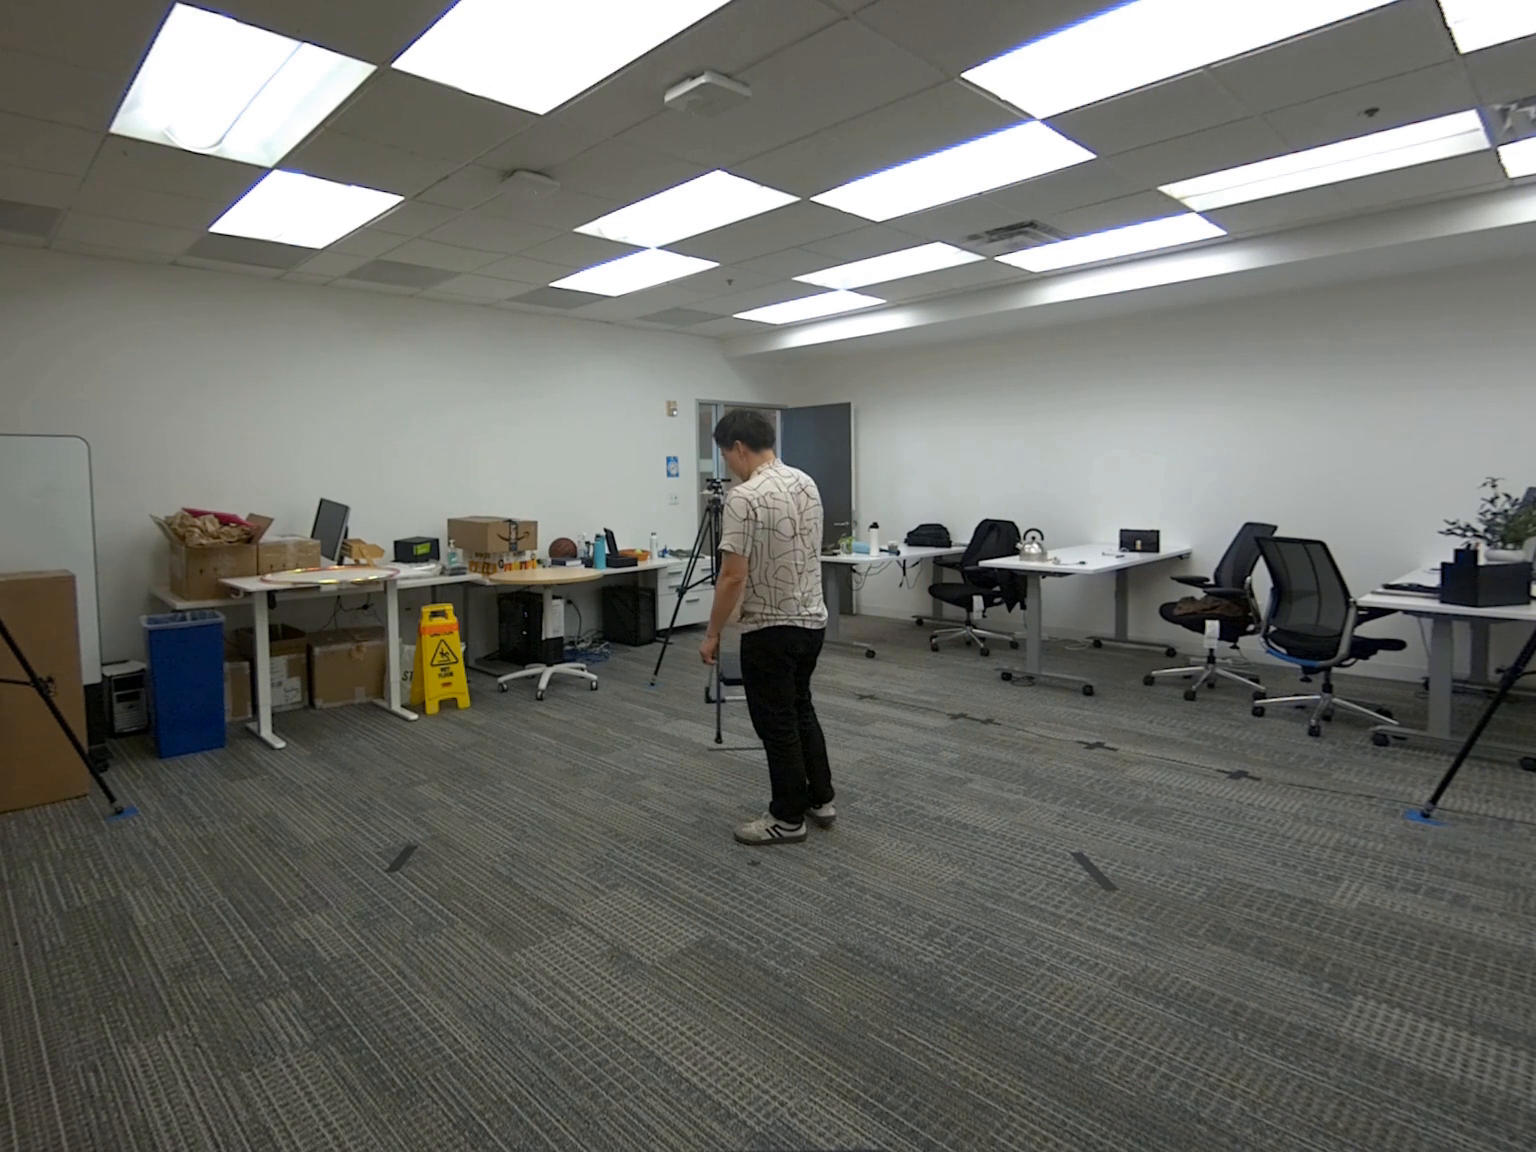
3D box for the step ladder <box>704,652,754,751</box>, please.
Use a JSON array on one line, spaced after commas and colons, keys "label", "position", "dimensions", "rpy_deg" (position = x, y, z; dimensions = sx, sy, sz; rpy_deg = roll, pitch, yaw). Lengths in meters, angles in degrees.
[{"label": "step ladder", "position": [-0.022, 0.362, 3.672], "dimensions": [0.425, 0.597, 0.359], "rpy_deg": [1, 20, -13]}]
